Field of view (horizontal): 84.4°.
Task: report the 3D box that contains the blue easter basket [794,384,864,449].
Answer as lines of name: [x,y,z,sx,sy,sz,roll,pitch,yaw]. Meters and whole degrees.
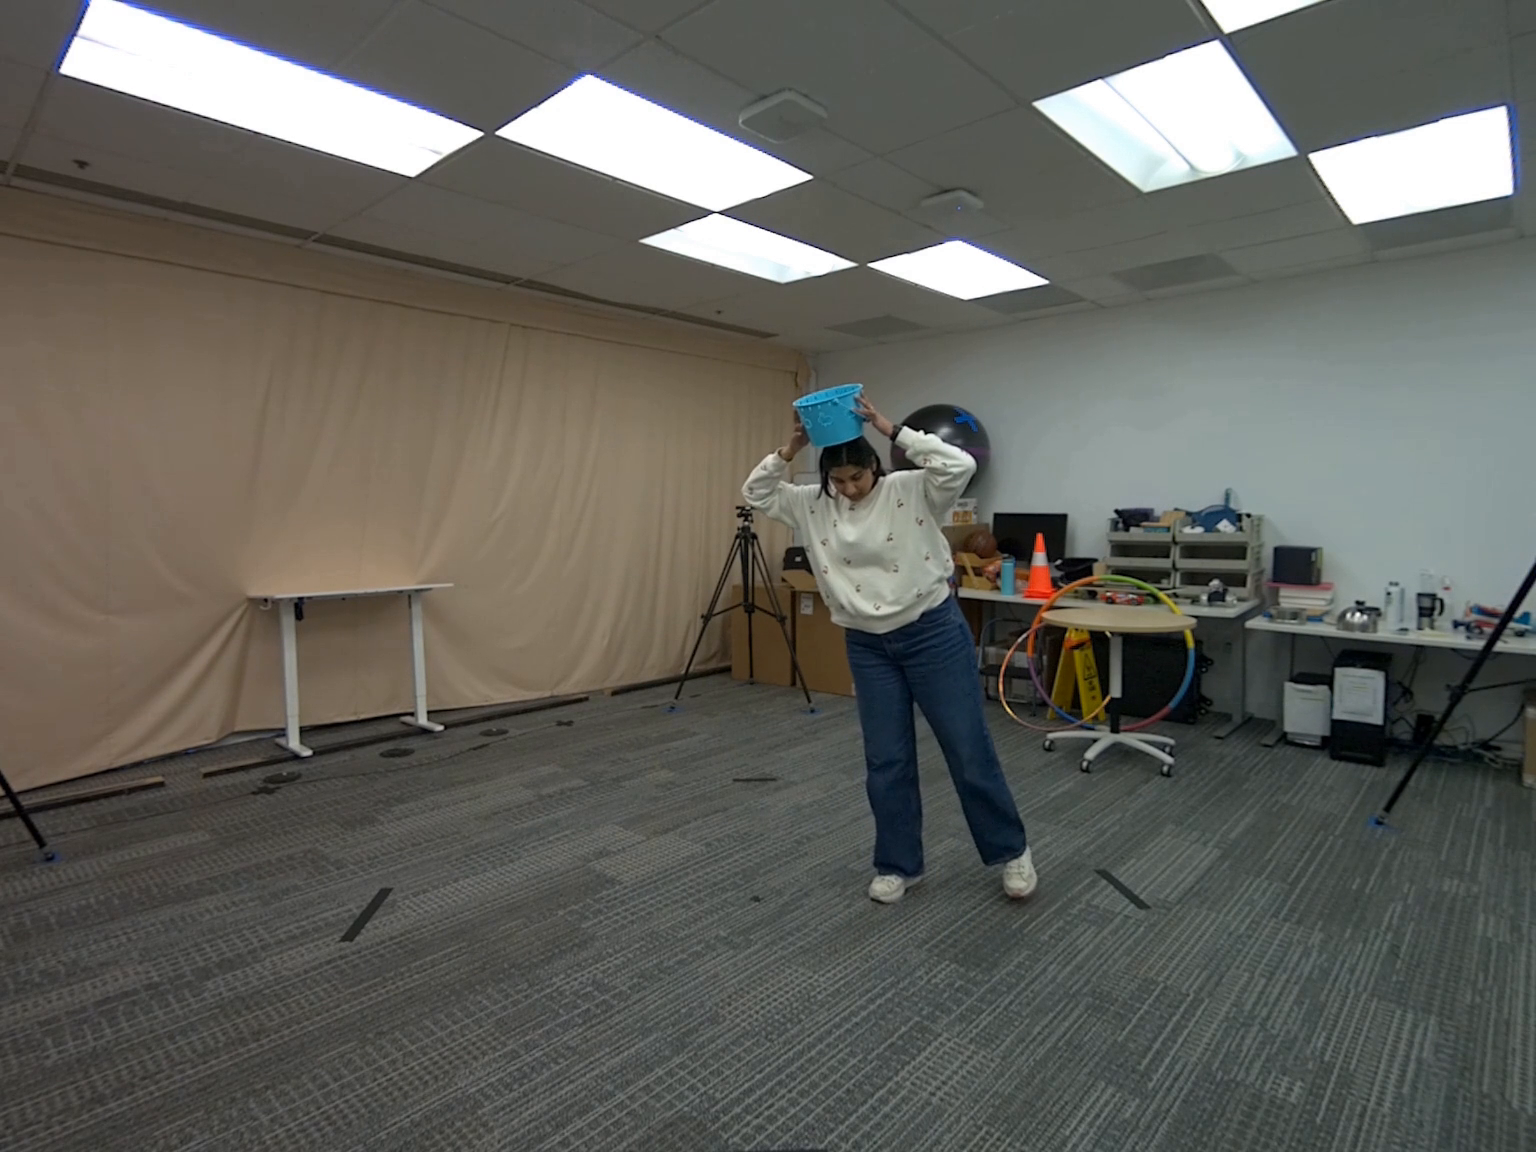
blue easter basket: [0.225,-0.531,2.788,0.244,0.153,0.246,-17,17,3]
